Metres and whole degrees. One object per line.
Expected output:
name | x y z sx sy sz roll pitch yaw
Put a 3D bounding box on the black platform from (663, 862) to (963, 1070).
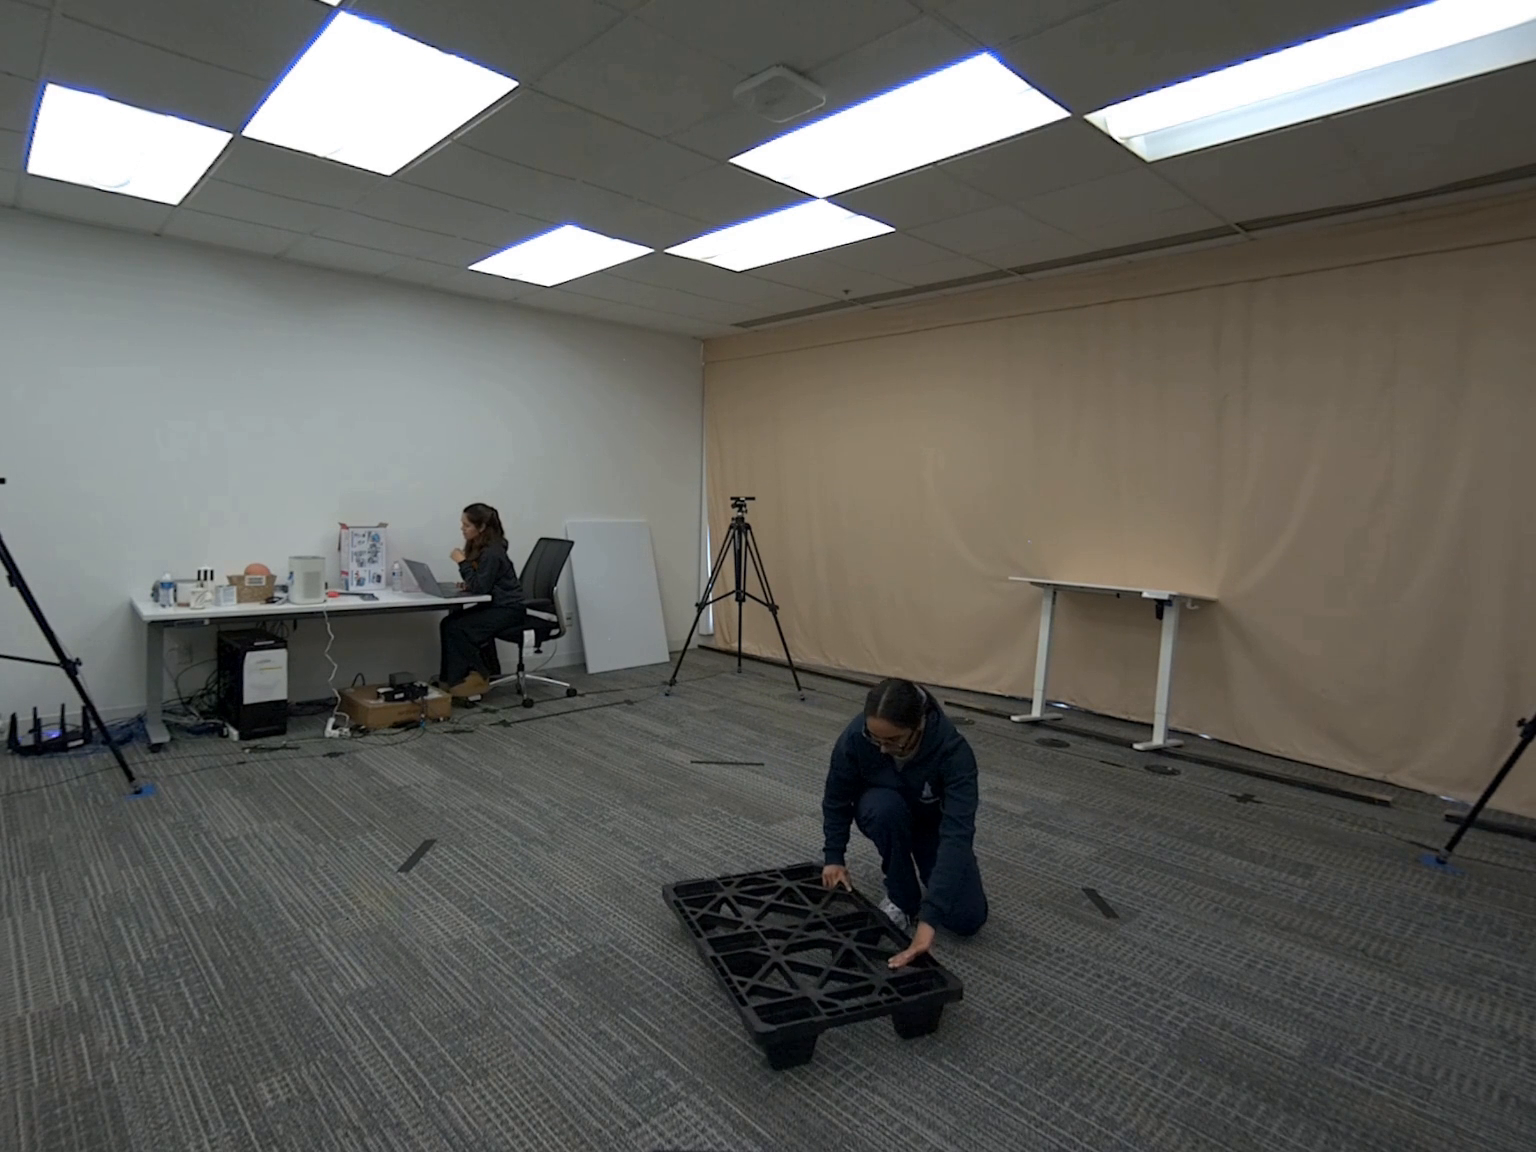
black platform | 0.082 1.101 2.474 0.595 0.143 0.822 0 6 -23
